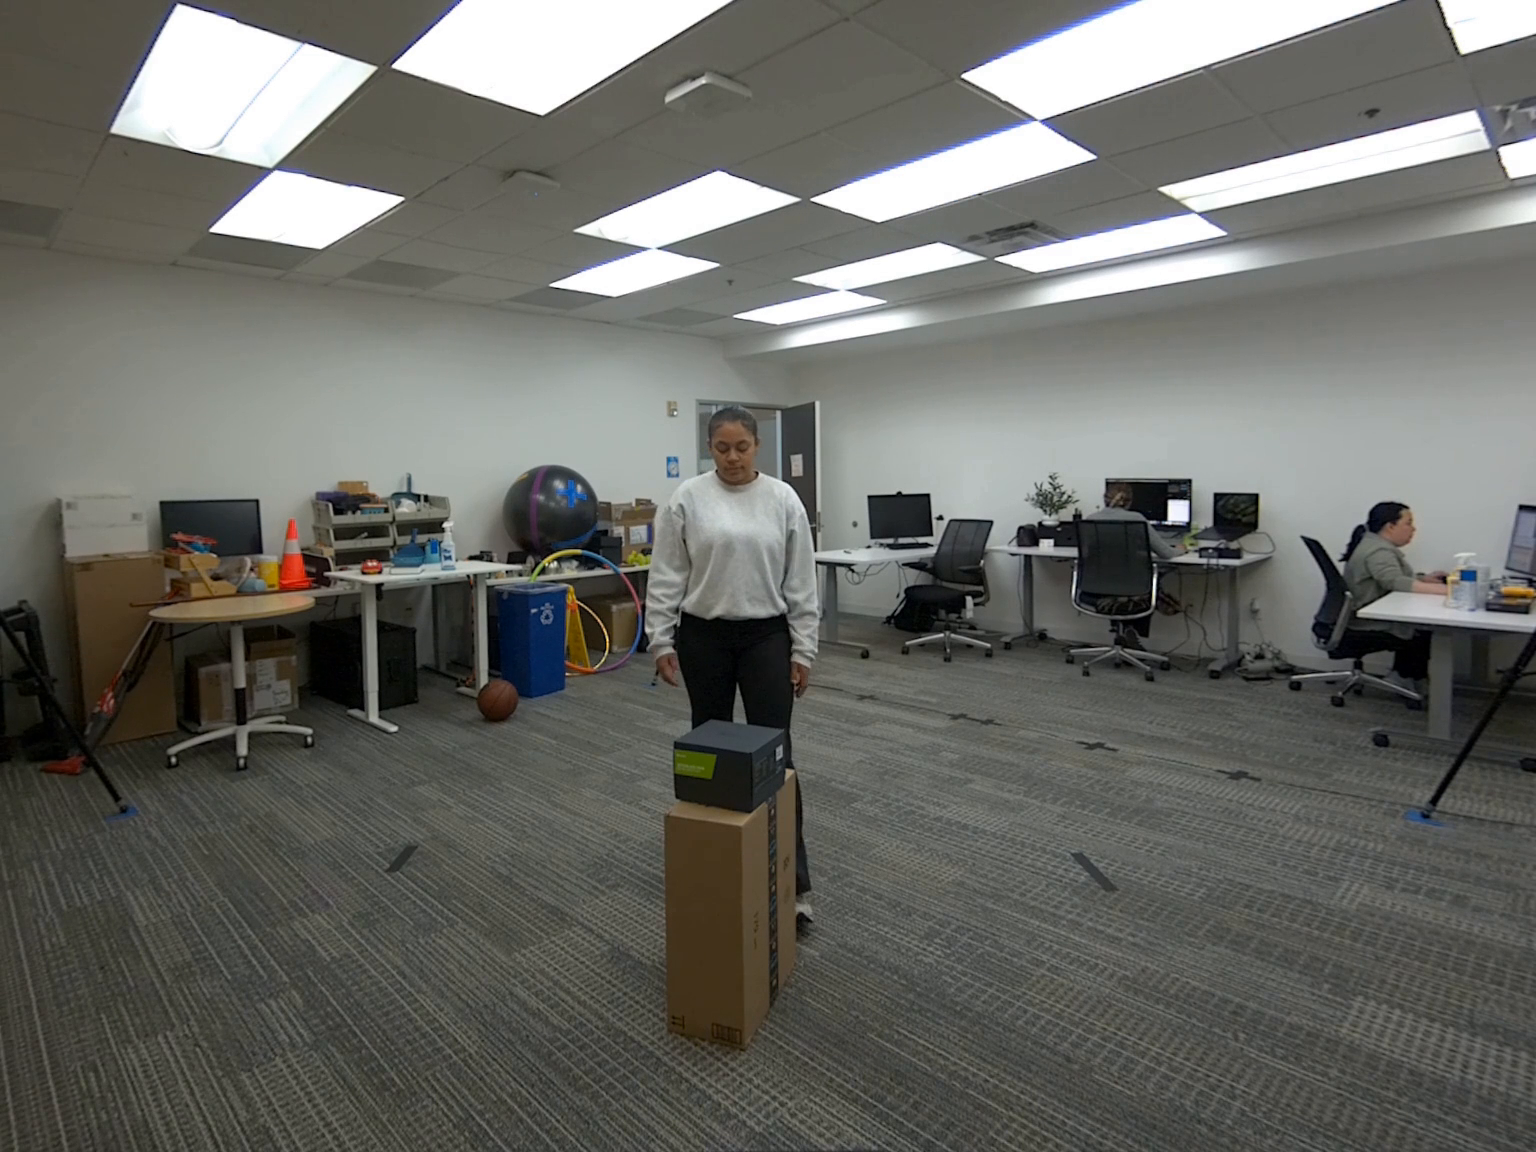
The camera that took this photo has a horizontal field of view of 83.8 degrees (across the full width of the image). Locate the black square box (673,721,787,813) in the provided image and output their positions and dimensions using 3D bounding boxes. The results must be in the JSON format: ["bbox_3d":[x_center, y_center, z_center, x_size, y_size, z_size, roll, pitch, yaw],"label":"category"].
[{"bbox_3d":[-0.103,0.498,2.276,0.233,0.155,0.213,2,7,25],"label":"black square box"}]
